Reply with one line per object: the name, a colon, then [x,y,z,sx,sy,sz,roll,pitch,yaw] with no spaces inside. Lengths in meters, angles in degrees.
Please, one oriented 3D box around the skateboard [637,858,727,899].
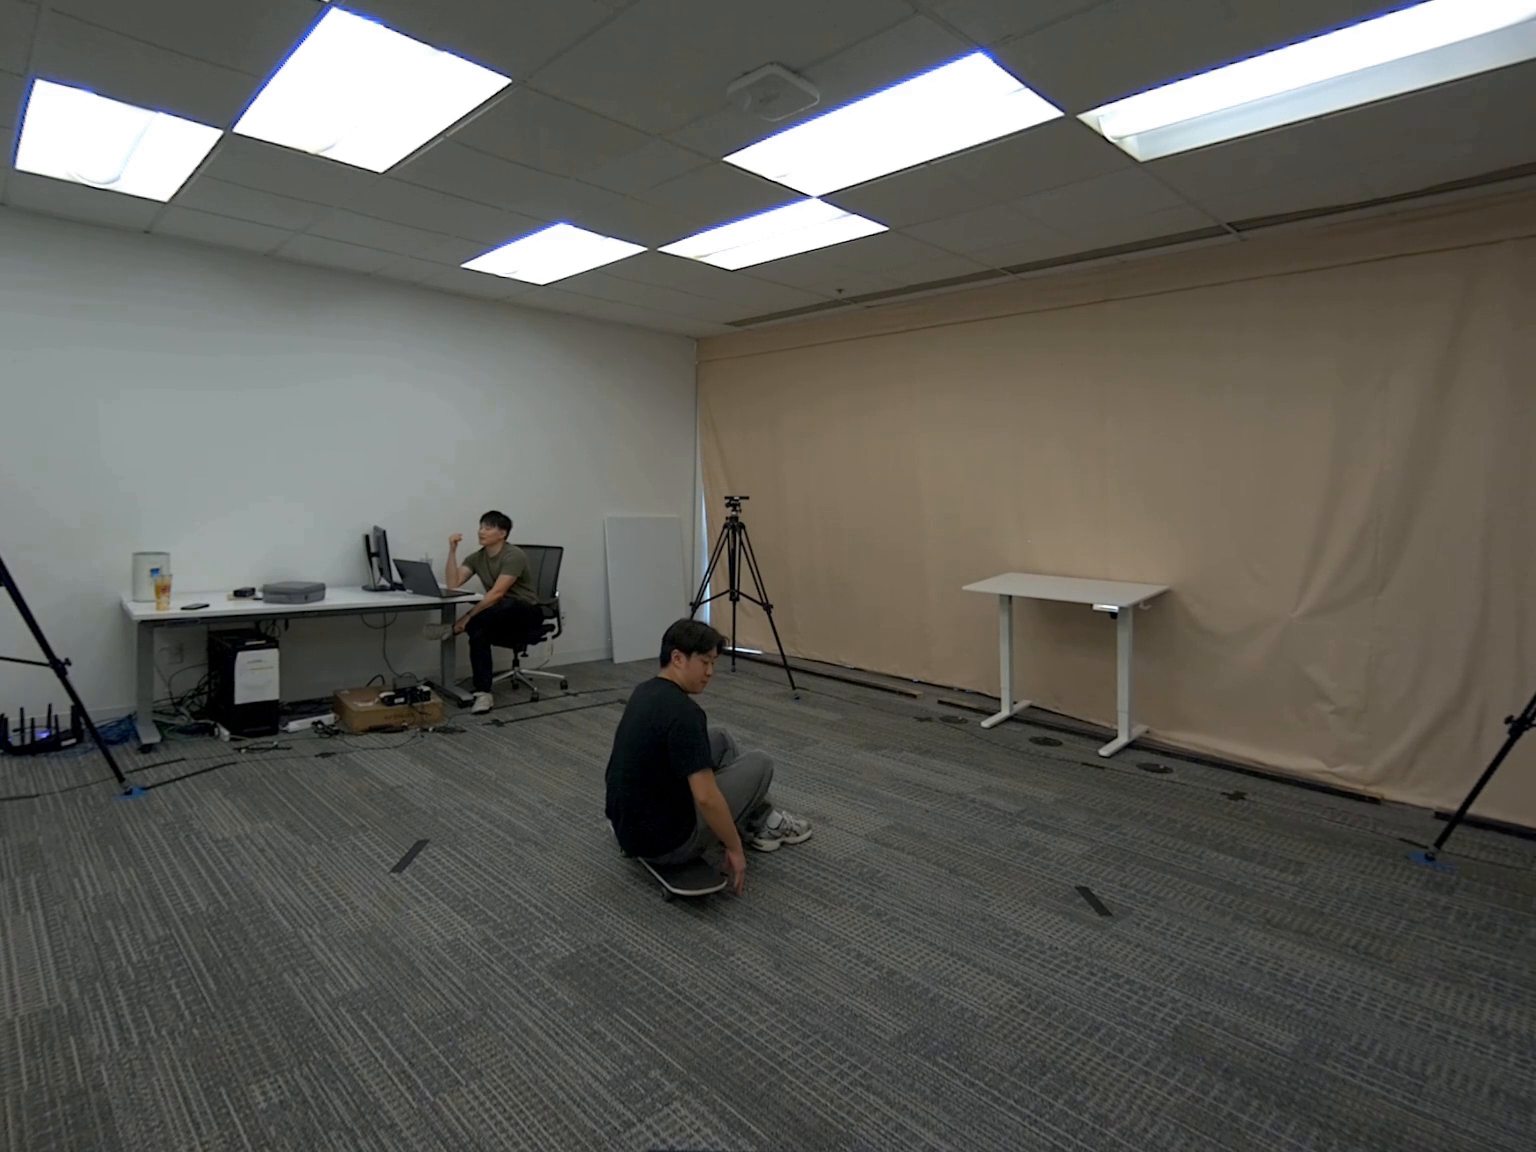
skateboard: [-0.395,1.042,3.118,0.190,0.110,0.804,-7,9,-30]
